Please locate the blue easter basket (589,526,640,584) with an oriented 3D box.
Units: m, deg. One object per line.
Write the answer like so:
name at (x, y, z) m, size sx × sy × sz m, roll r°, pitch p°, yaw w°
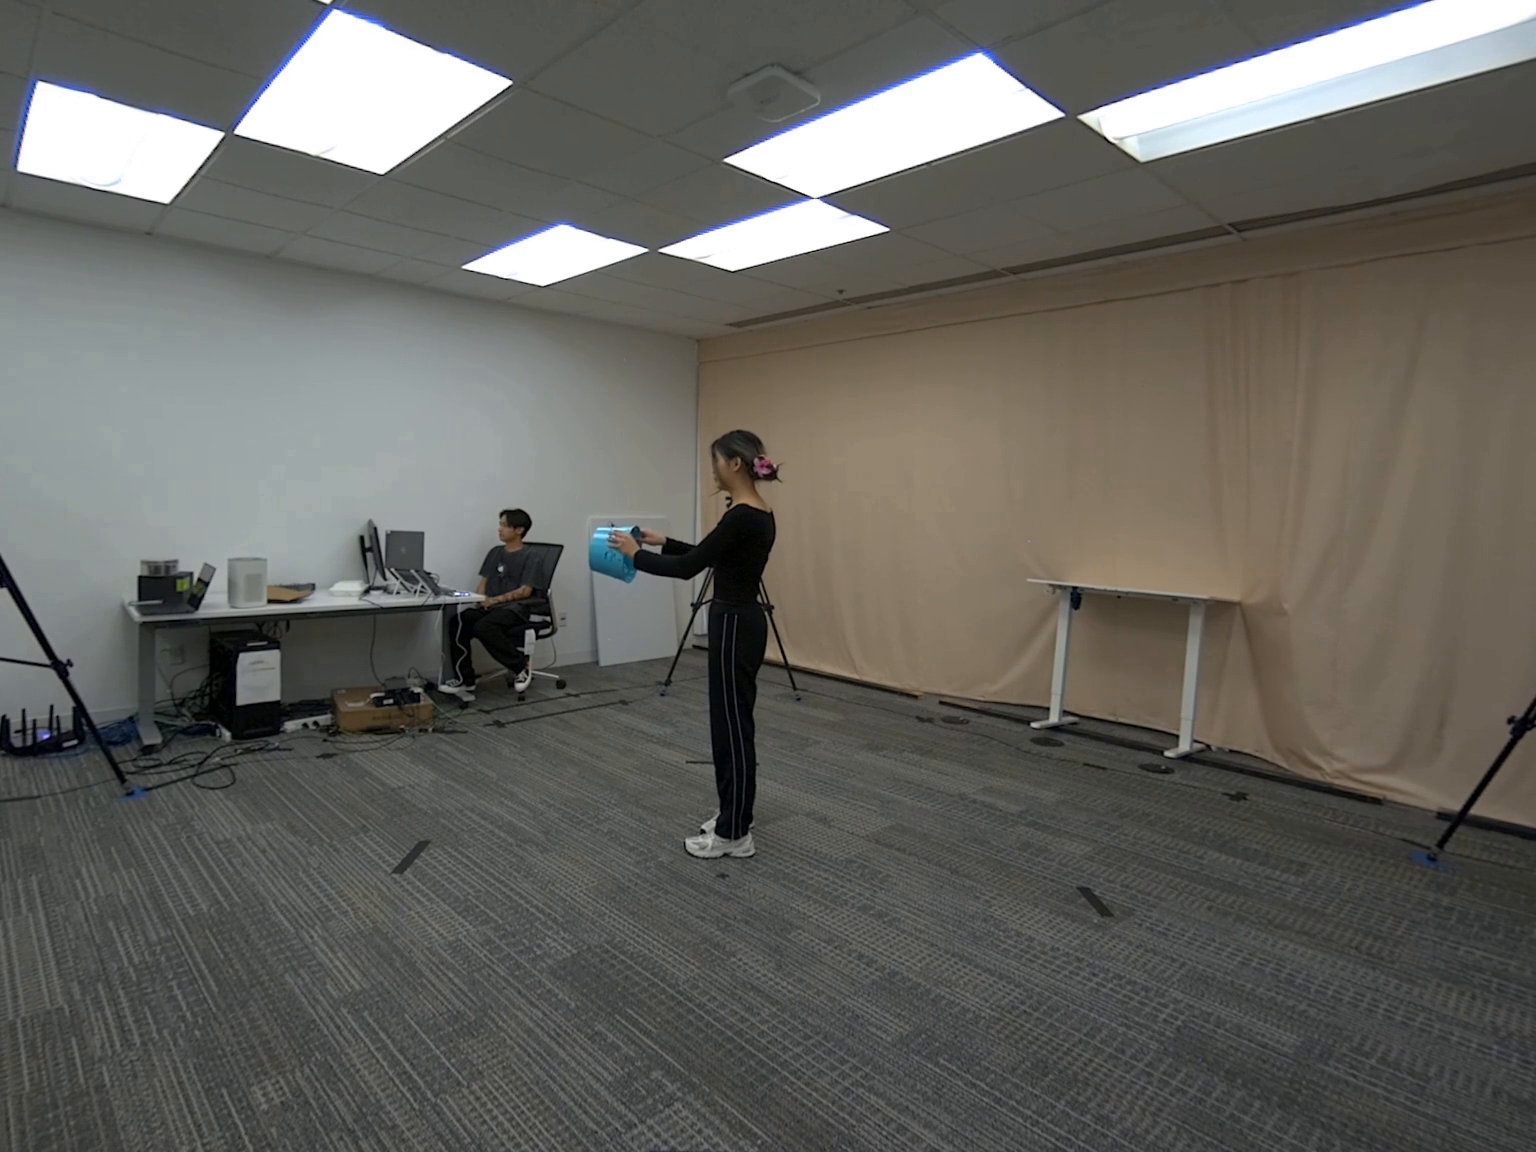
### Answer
blue easter basket at (-0.613, -0.088, 3.365) m, size 0.157 × 0.243 × 0.242 m, roll 8°, pitch 5°, yaw 7°
